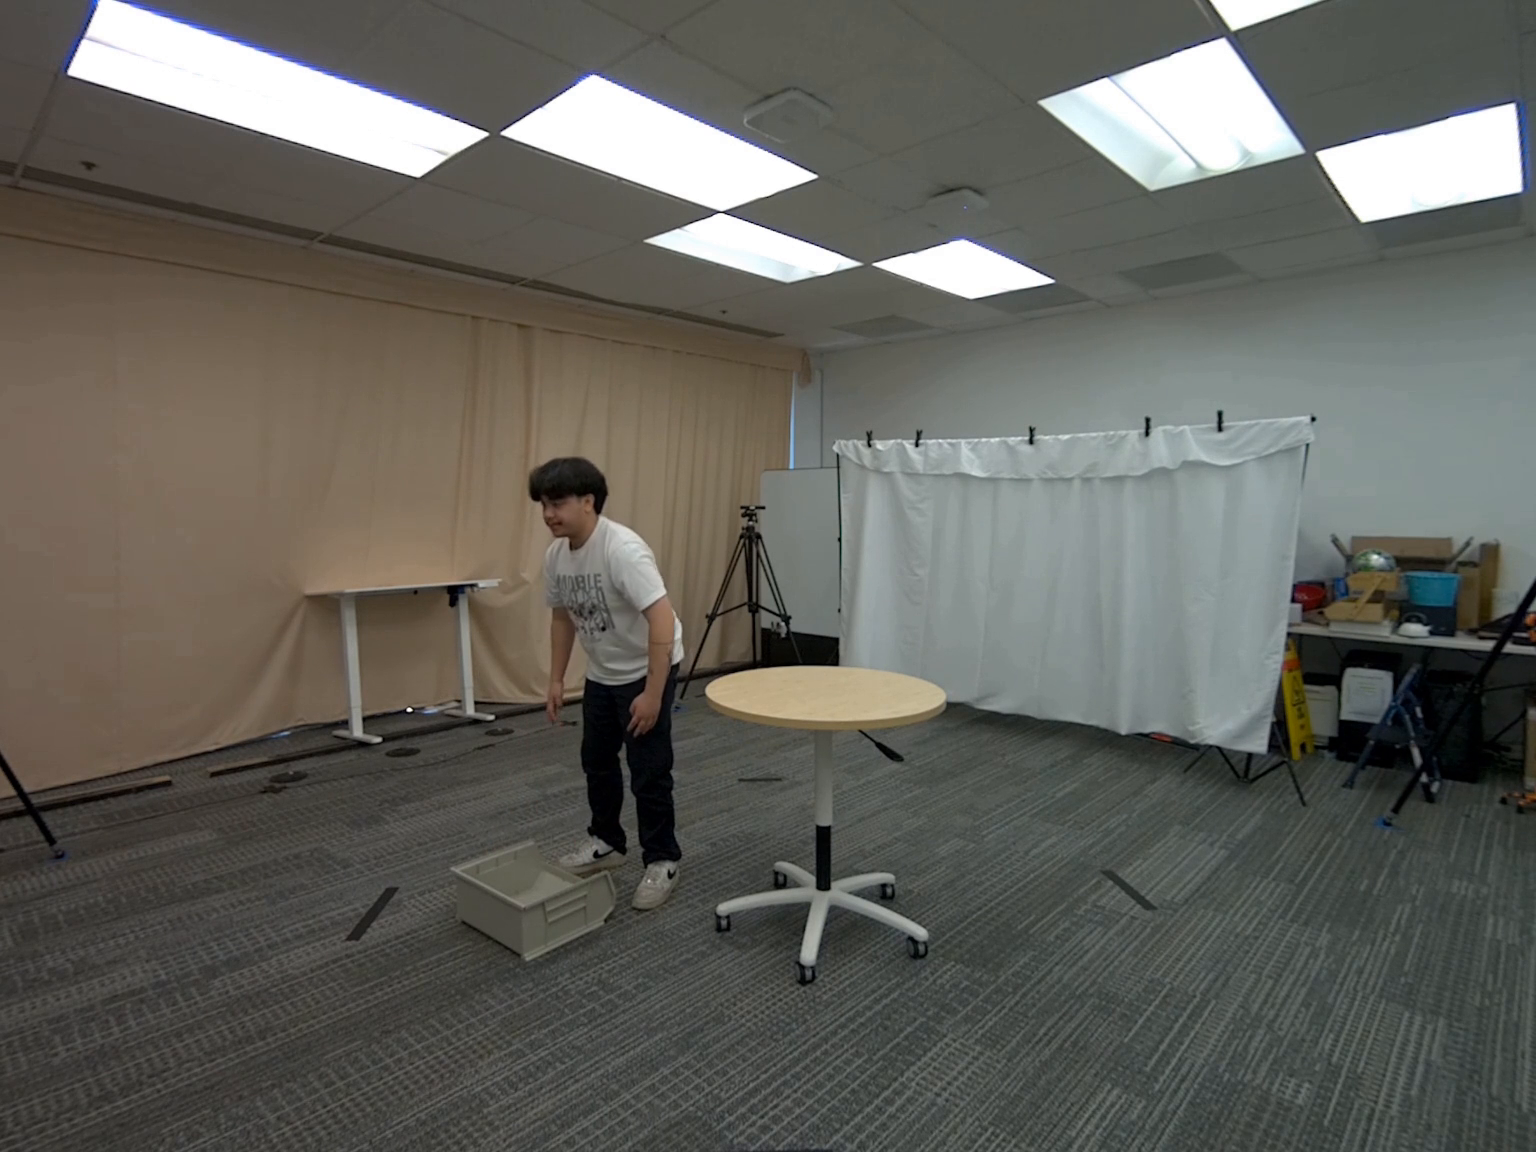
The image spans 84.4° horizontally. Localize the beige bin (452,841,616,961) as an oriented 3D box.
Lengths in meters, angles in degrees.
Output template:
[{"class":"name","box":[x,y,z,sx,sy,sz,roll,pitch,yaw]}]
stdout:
[{"class":"beige bin","box":[-0.800,1.079,2.839,0.436,0.188,0.366,4,7,39]}]
